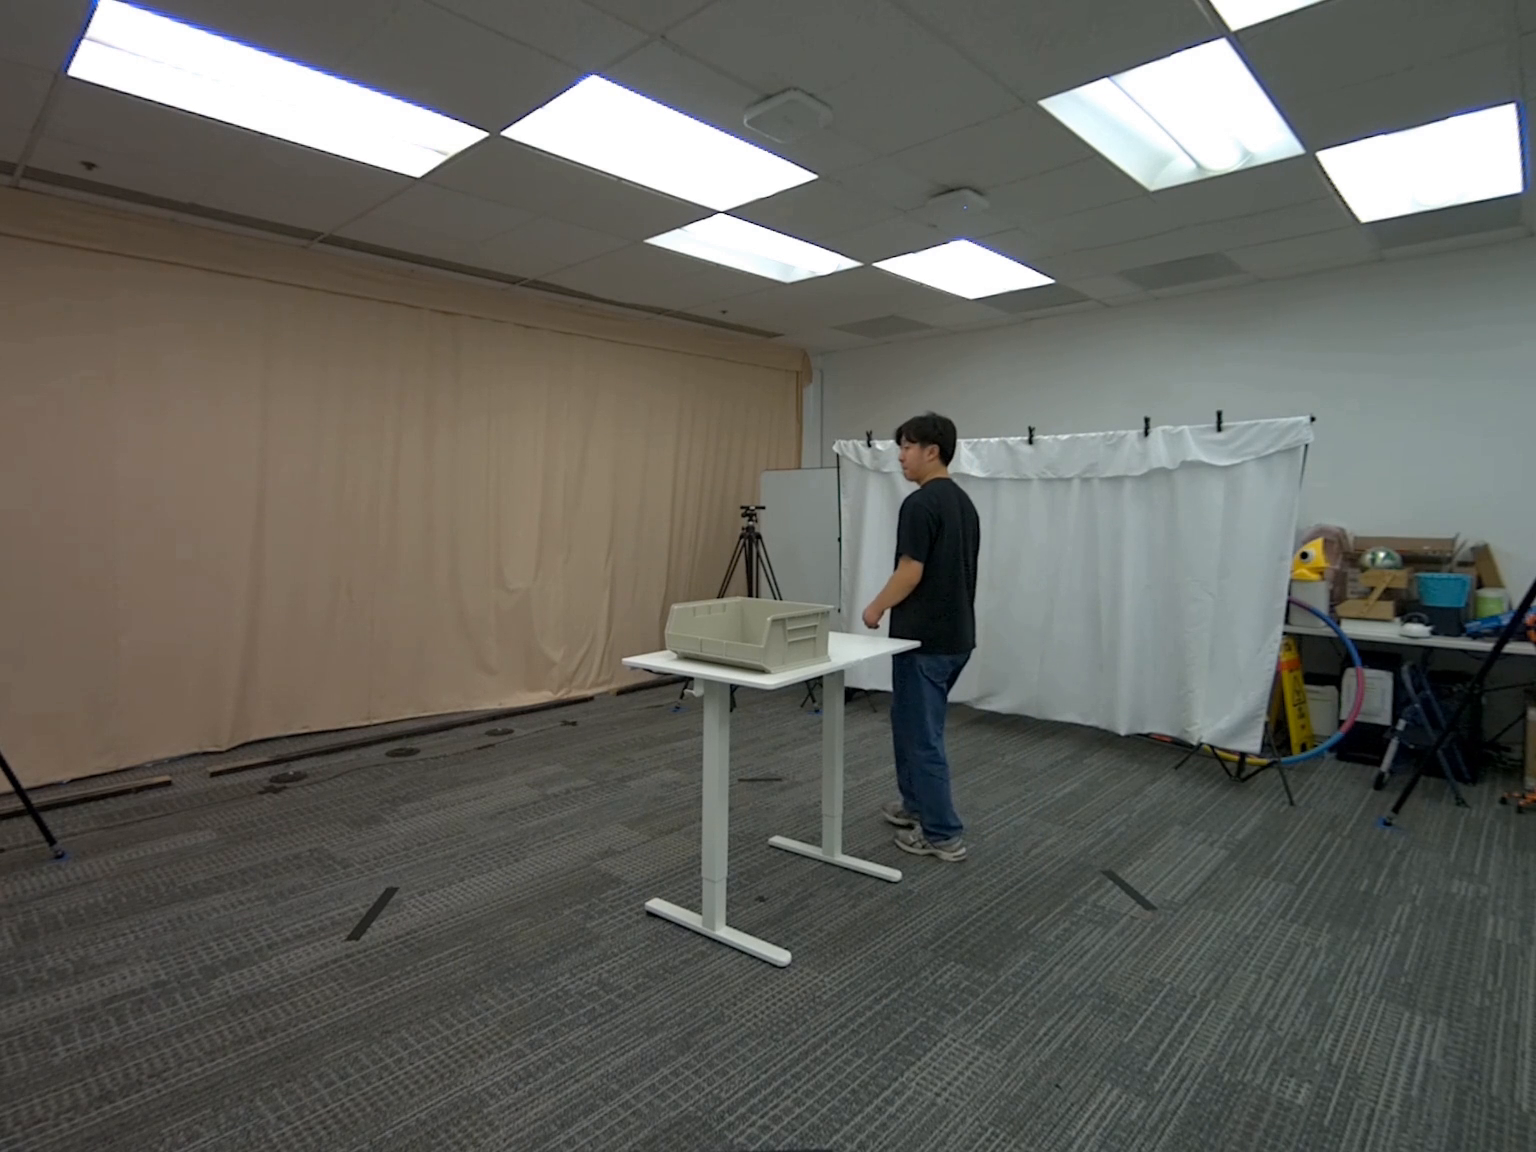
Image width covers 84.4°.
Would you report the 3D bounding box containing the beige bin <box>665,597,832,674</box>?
[{"bbox_3d":[-0.058,0.191,2.764,0.436,0.189,0.365,4,4,41],"label":"beige bin"}]
